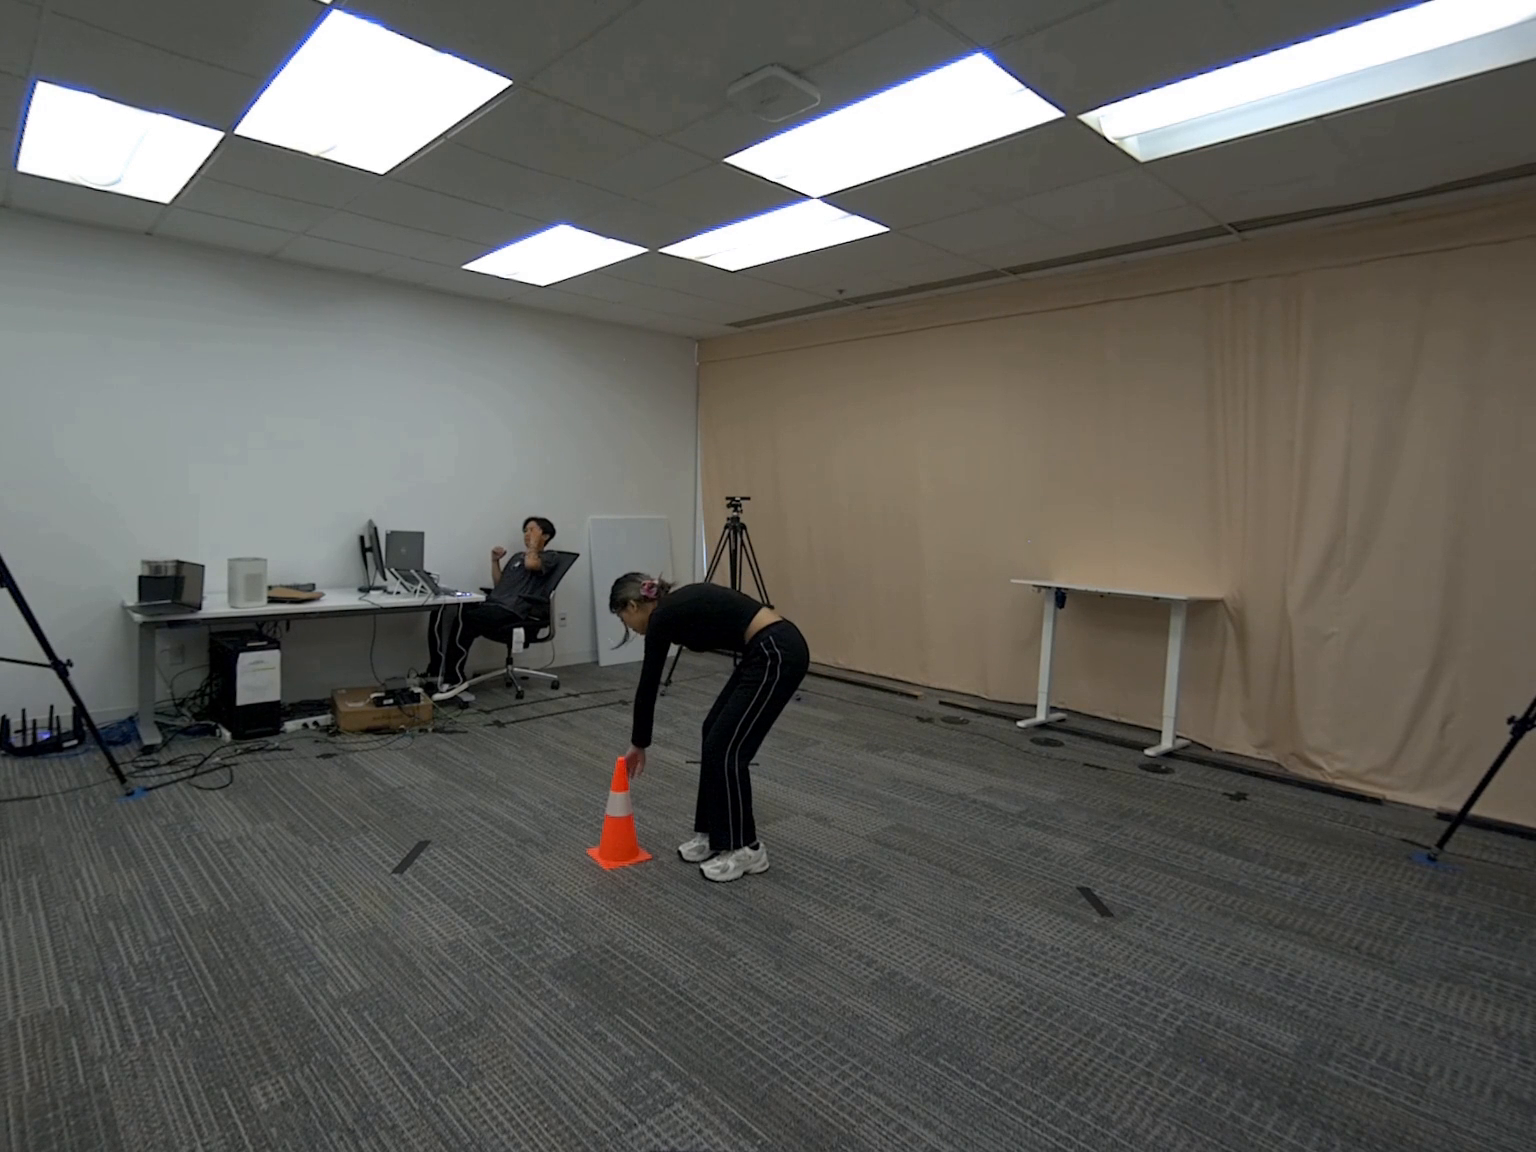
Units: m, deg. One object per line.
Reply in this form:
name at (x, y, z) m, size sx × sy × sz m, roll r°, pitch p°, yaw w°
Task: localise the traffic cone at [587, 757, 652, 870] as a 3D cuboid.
traffic cone at (-0.578, 0.892, 3.255) m, size 0.199 × 0.383 × 0.210 m, roll -1°, pitch 4°, yaw -37°
